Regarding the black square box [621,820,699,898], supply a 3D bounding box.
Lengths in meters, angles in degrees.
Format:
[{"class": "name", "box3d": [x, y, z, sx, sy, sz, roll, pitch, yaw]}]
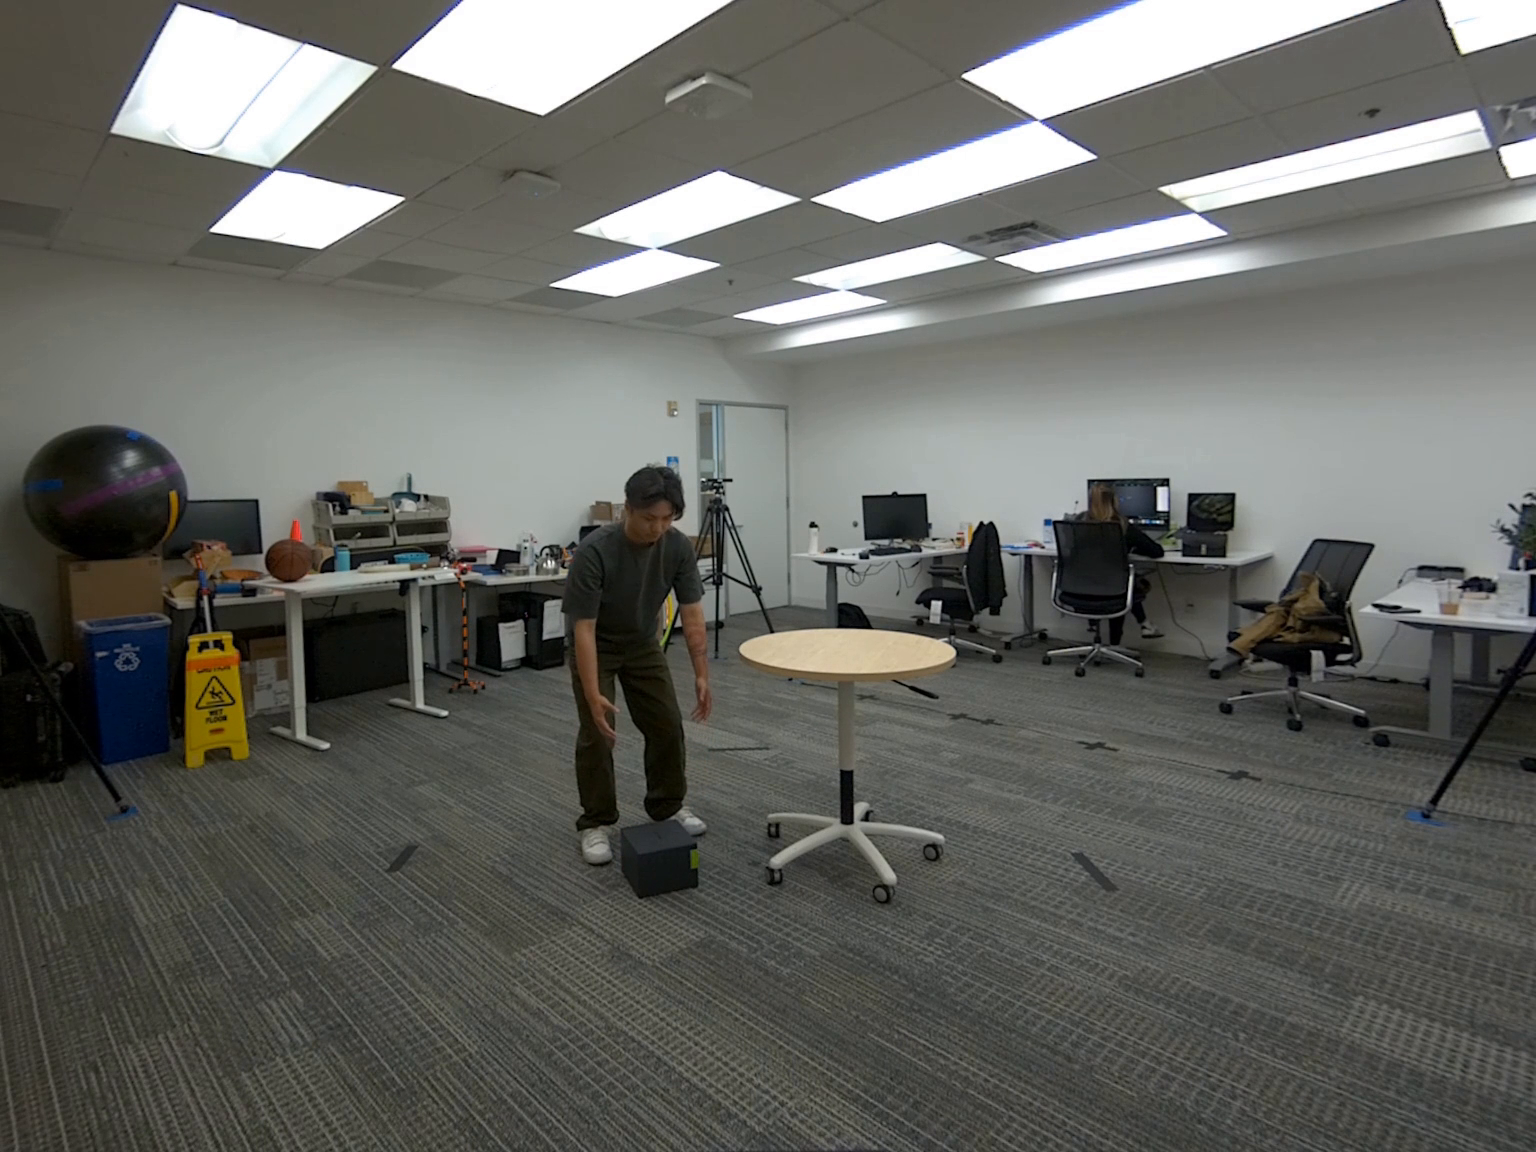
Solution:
[{"class": "black square box", "box3d": [-0.379, 0.980, 2.988, 0.212, 0.155, 0.234, -3, 7, -24]}]
